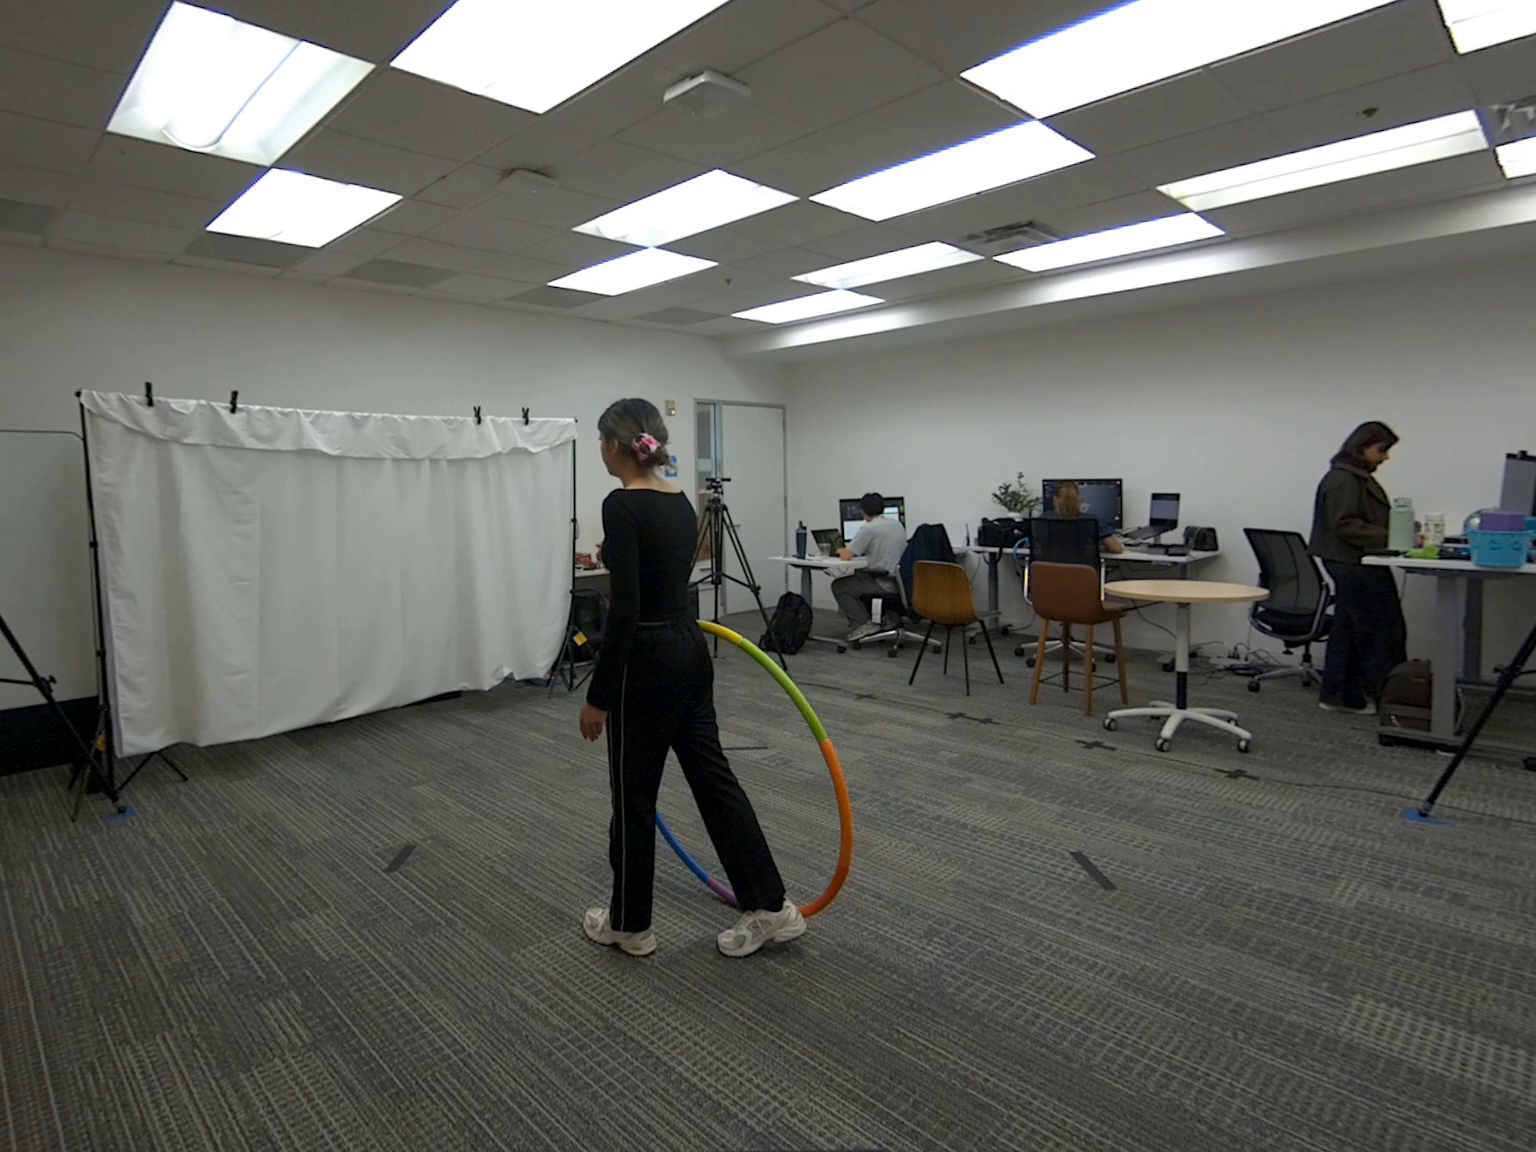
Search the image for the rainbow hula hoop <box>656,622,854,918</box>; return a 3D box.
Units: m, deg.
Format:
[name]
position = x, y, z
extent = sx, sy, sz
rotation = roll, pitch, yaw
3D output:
[rainbow hula hoop]
position = -0.128, 0.614, 2.699
extent = 1.009, 0.969, 0.035
rotation = 4, 14, 44
